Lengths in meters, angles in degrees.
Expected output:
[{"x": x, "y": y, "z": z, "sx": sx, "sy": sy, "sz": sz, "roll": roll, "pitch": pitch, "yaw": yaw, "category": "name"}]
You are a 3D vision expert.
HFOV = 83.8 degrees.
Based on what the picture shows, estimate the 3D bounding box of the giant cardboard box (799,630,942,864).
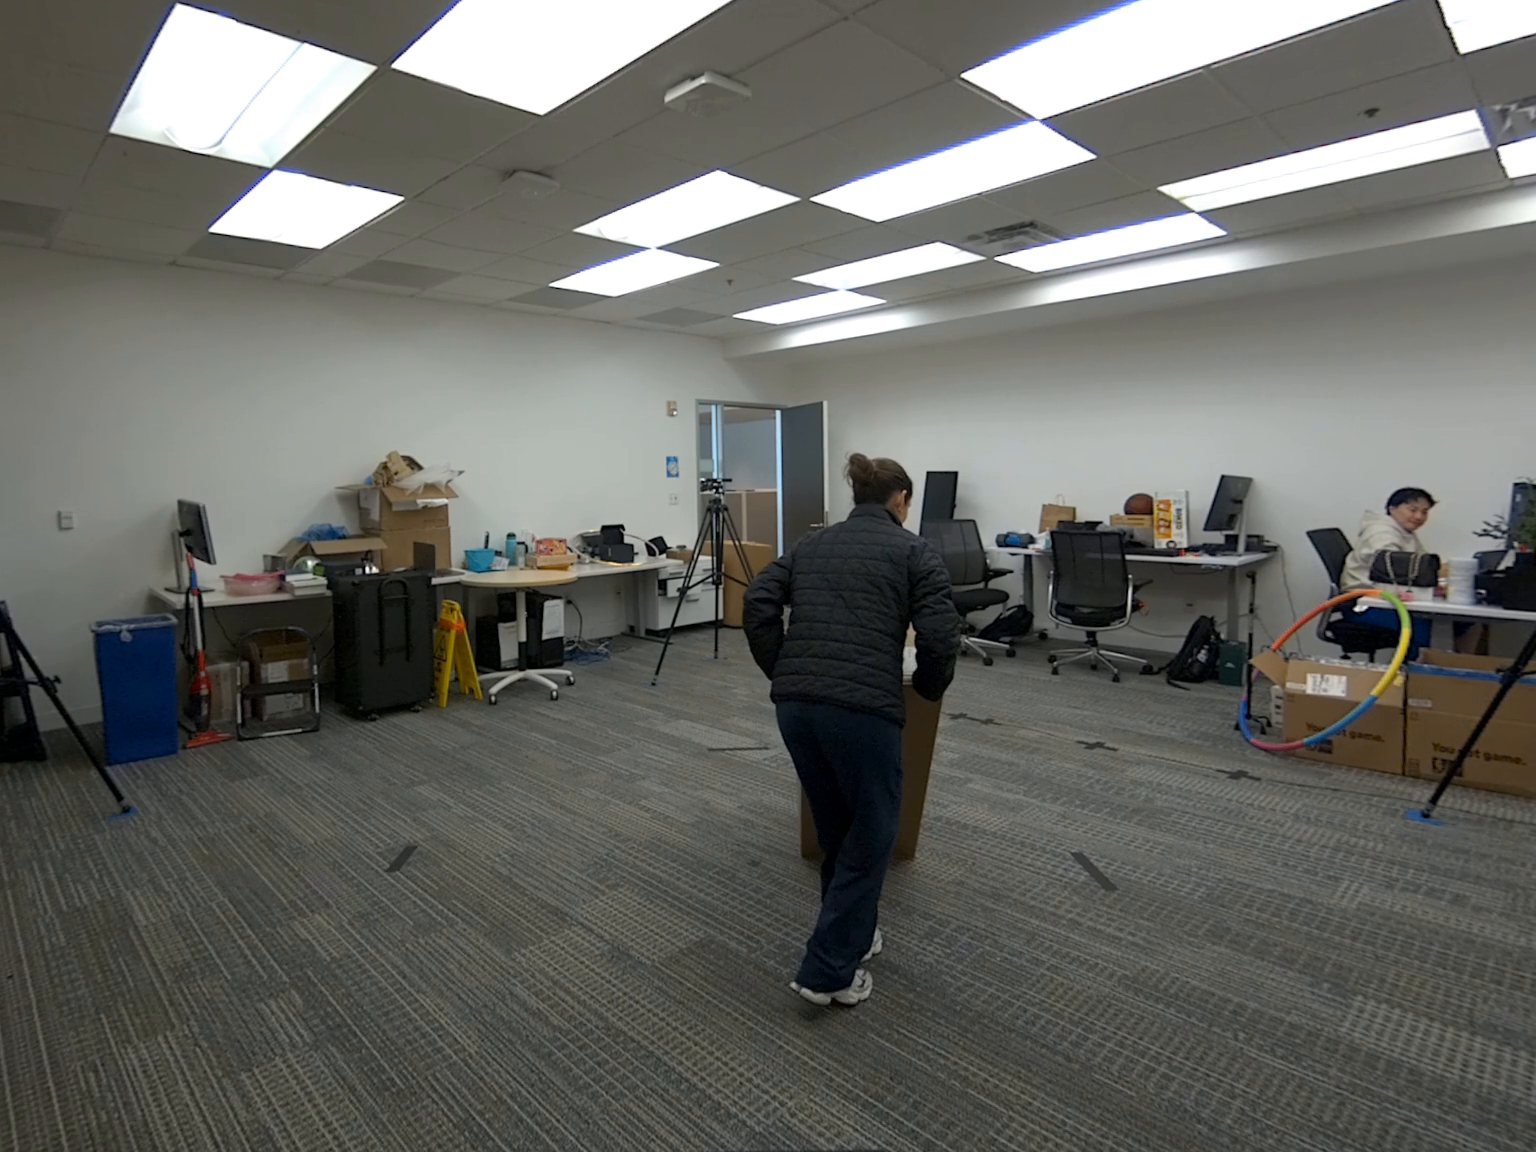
[{"x": 0.323, "y": 0.476, "z": 3.030, "sx": 0.448, "sy": 0.998, "sz": 0.599, "roll": 0, "pitch": 44, "yaw": 1, "category": "giant cardboard box"}]
